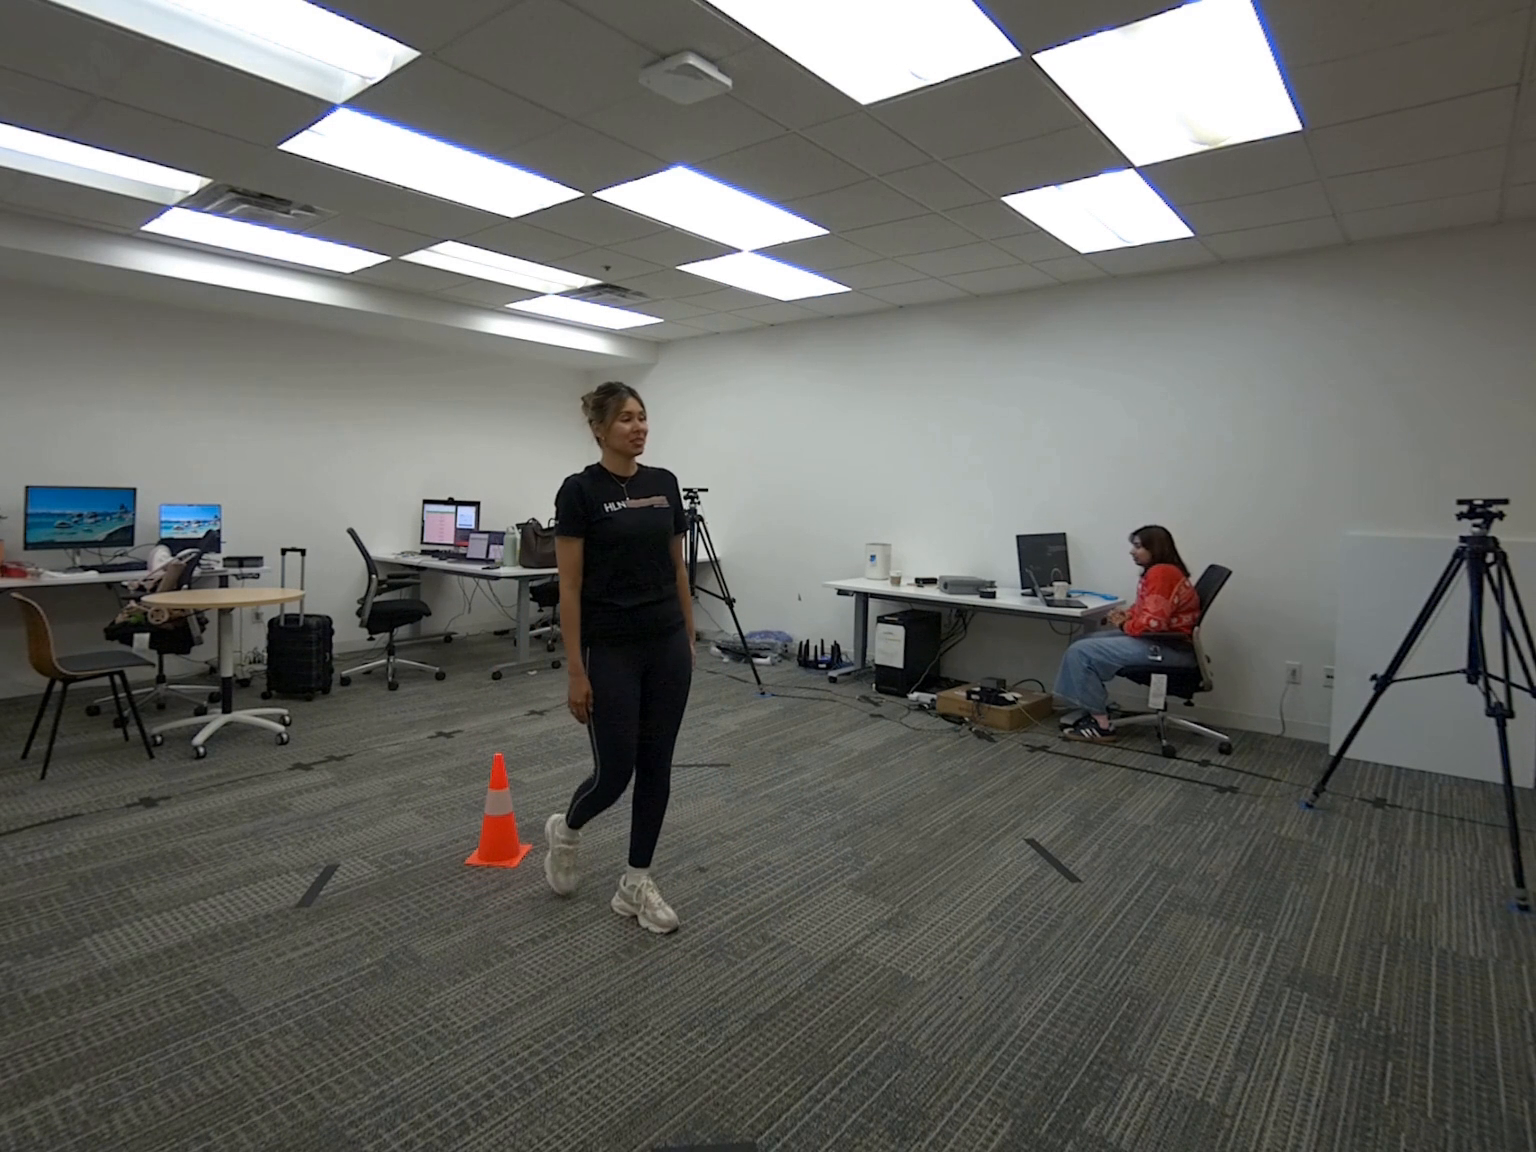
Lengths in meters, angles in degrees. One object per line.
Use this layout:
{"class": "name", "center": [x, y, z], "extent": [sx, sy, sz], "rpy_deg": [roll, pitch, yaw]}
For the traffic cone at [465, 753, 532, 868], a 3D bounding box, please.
{"class": "traffic cone", "center": [-1.024, 0.863, 3.197], "extent": [0.207, 0.382, 0.202], "rpy_deg": [1, 3, 8]}
